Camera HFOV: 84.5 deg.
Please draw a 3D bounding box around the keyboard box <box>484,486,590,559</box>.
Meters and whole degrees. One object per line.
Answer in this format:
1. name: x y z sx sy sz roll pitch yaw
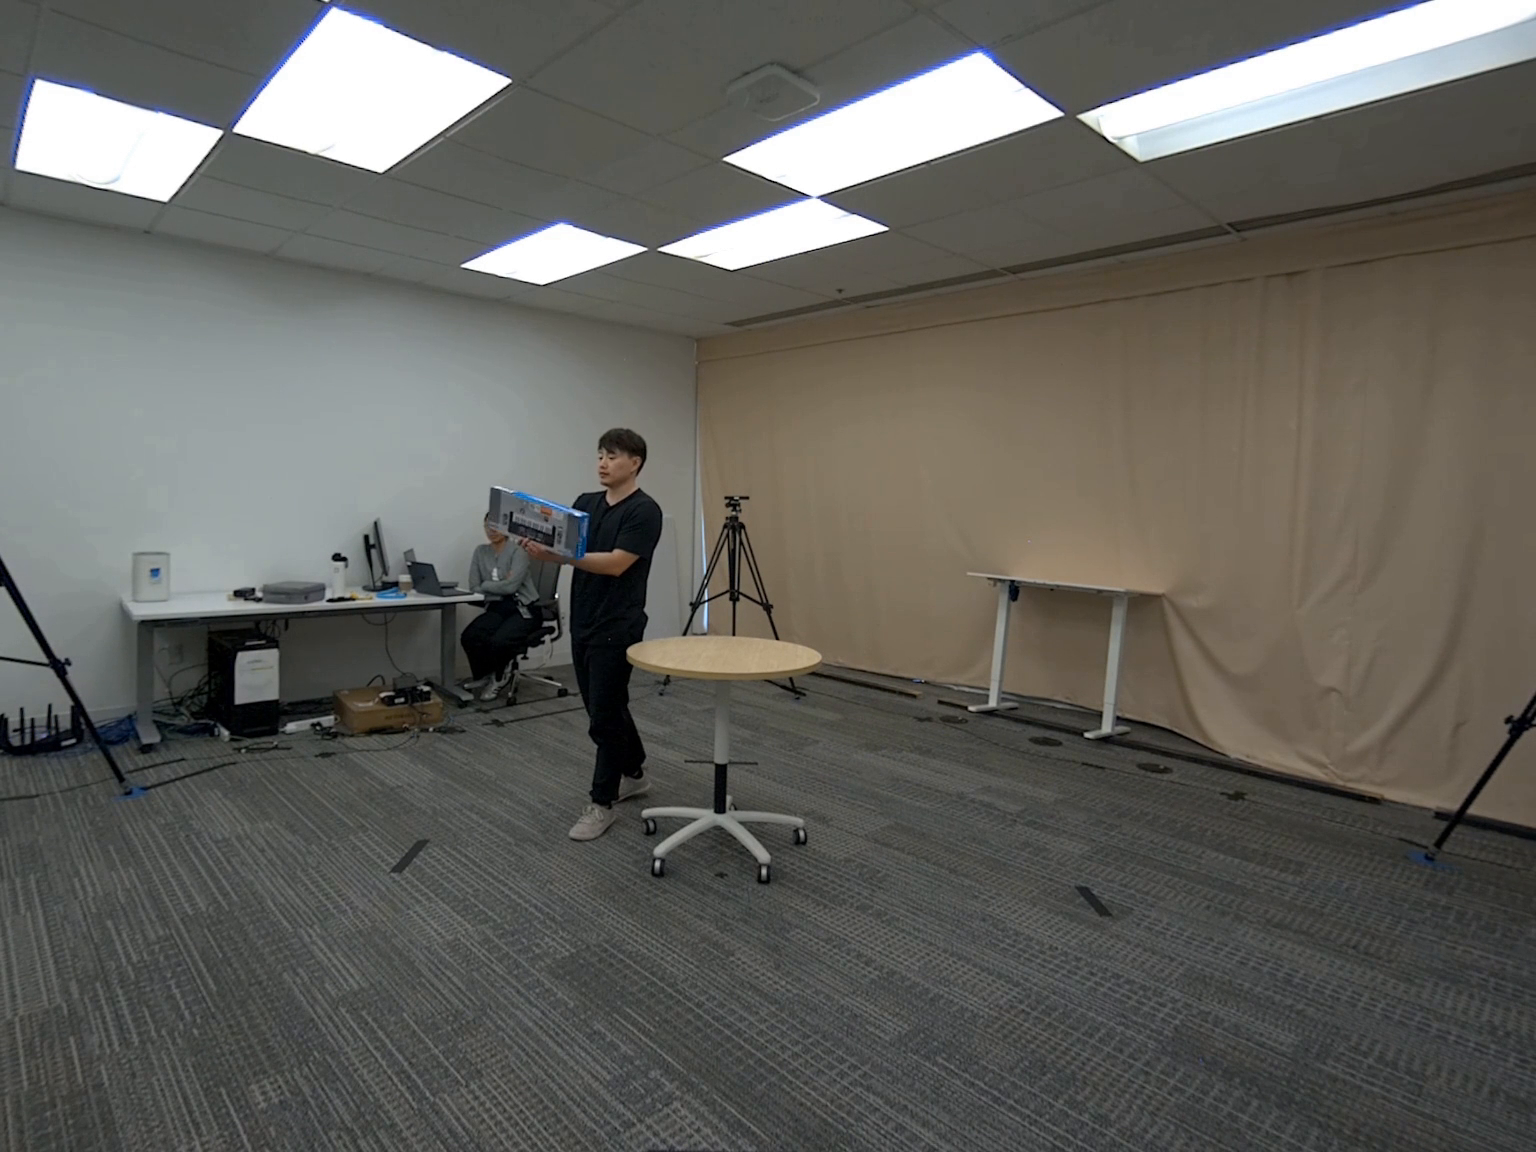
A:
1. keyboard box: -0.907 -0.209 3.222 0.446 0.174 0.058 19 18 24
